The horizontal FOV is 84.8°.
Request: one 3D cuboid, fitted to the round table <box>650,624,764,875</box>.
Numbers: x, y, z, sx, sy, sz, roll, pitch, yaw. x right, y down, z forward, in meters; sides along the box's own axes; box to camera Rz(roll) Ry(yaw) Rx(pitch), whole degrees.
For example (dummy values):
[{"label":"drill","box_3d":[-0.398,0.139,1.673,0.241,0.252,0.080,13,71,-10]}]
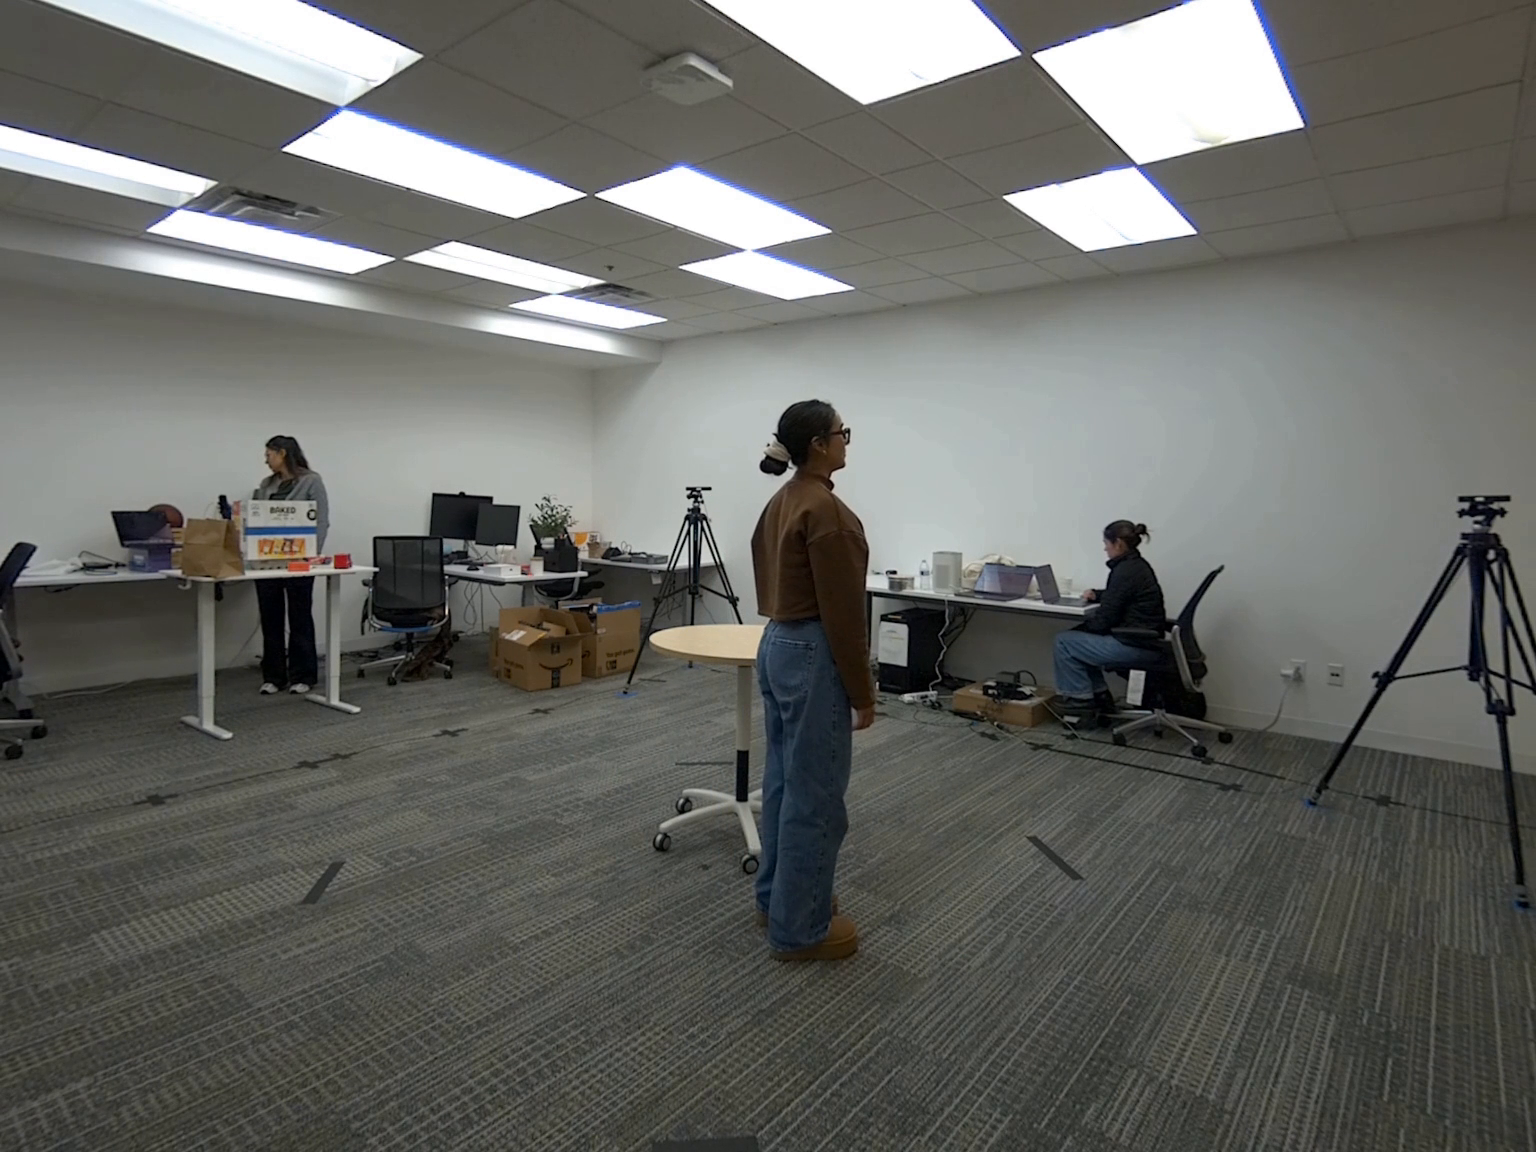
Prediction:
[{"label":"round table","box_3d":[-0.109,0.648,3.402,0.763,0.792,0.767,1,4,-2]}]
